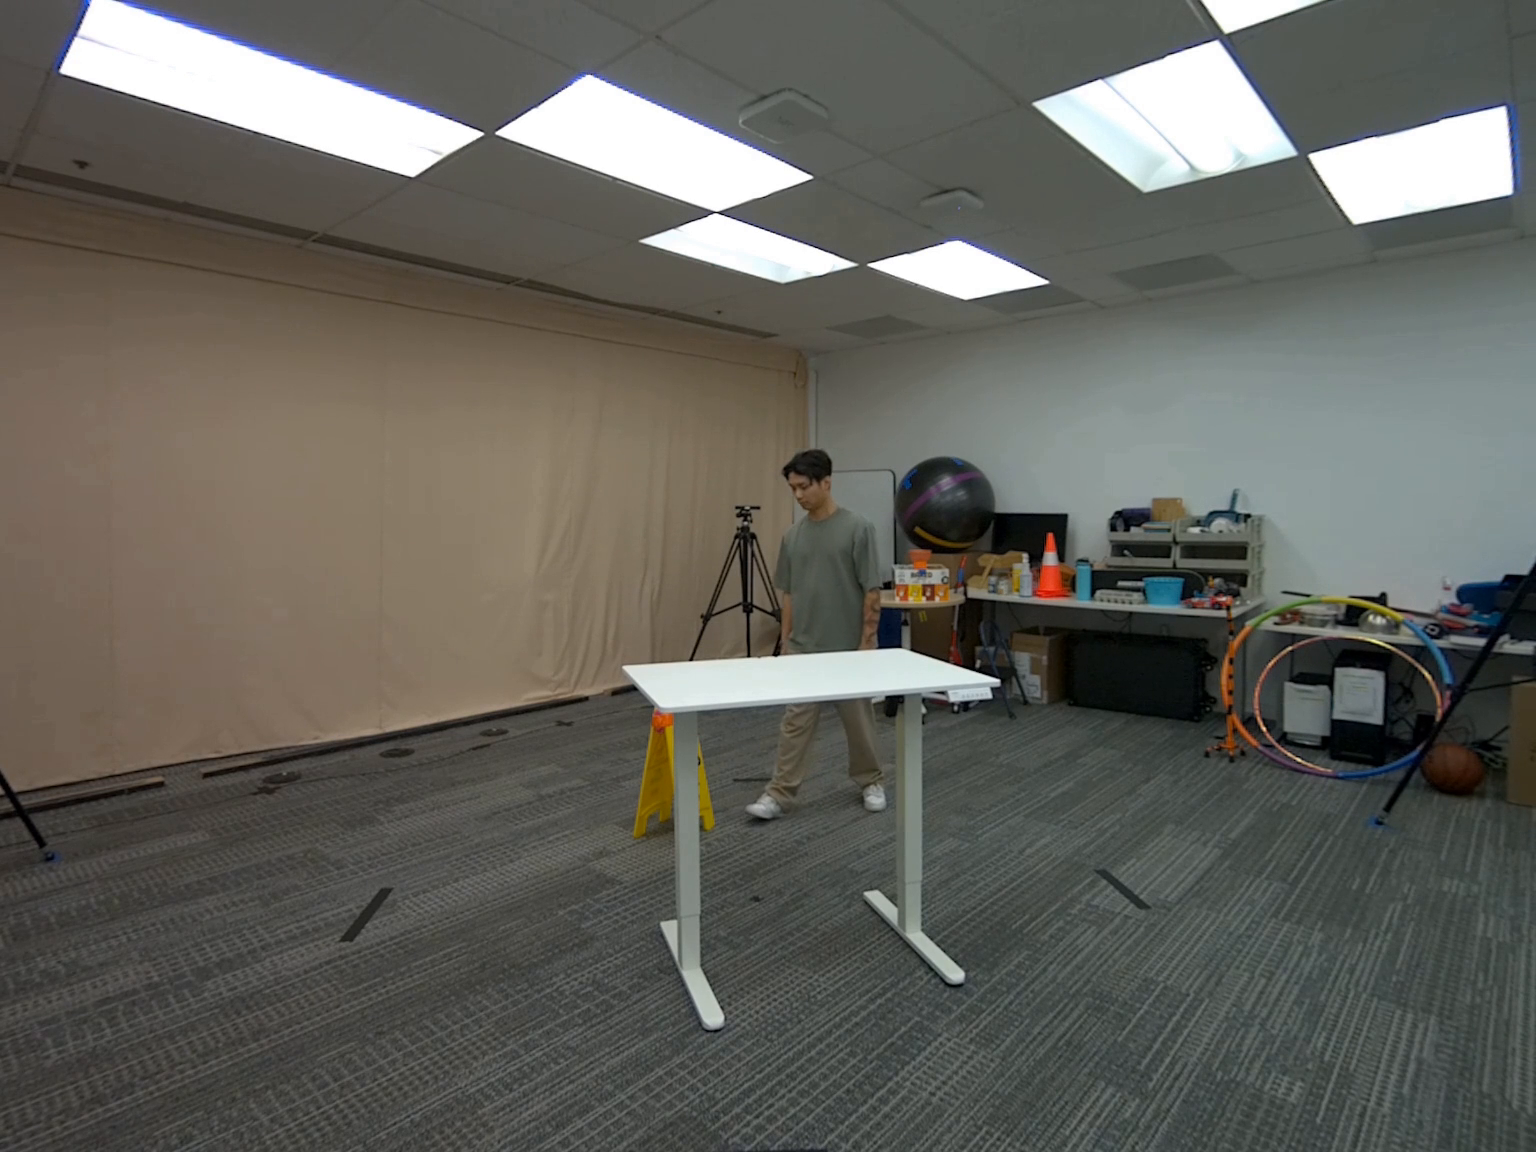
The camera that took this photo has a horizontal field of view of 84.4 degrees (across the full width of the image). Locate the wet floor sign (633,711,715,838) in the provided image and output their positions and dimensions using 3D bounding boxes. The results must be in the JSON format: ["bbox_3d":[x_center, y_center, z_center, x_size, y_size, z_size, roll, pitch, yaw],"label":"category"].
[{"bbox_3d":[-0.404,0.773,3.589,0.297,0.645,0.275,0,2,25],"label":"wet floor sign"}]
